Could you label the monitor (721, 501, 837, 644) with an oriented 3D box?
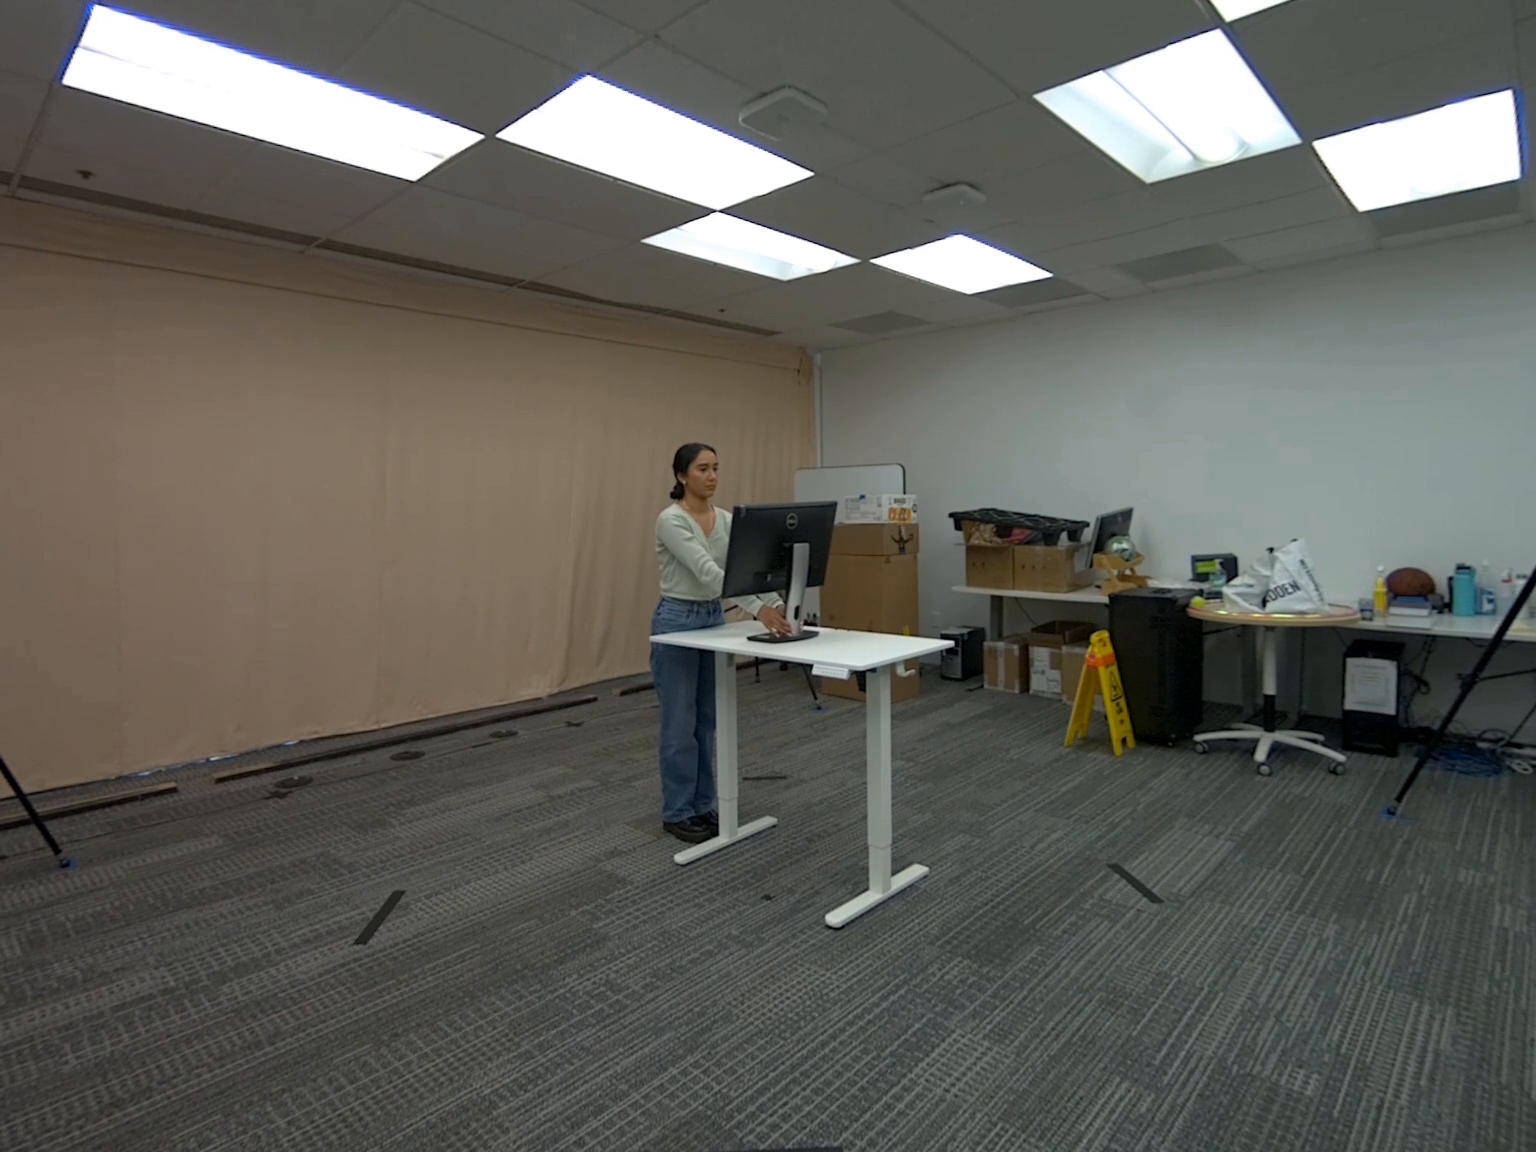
[{"bbox_3d":[0.088,-0.014,3.187,0.523,0.521,0.193,-6,6,-43],"label":"monitor"}]
